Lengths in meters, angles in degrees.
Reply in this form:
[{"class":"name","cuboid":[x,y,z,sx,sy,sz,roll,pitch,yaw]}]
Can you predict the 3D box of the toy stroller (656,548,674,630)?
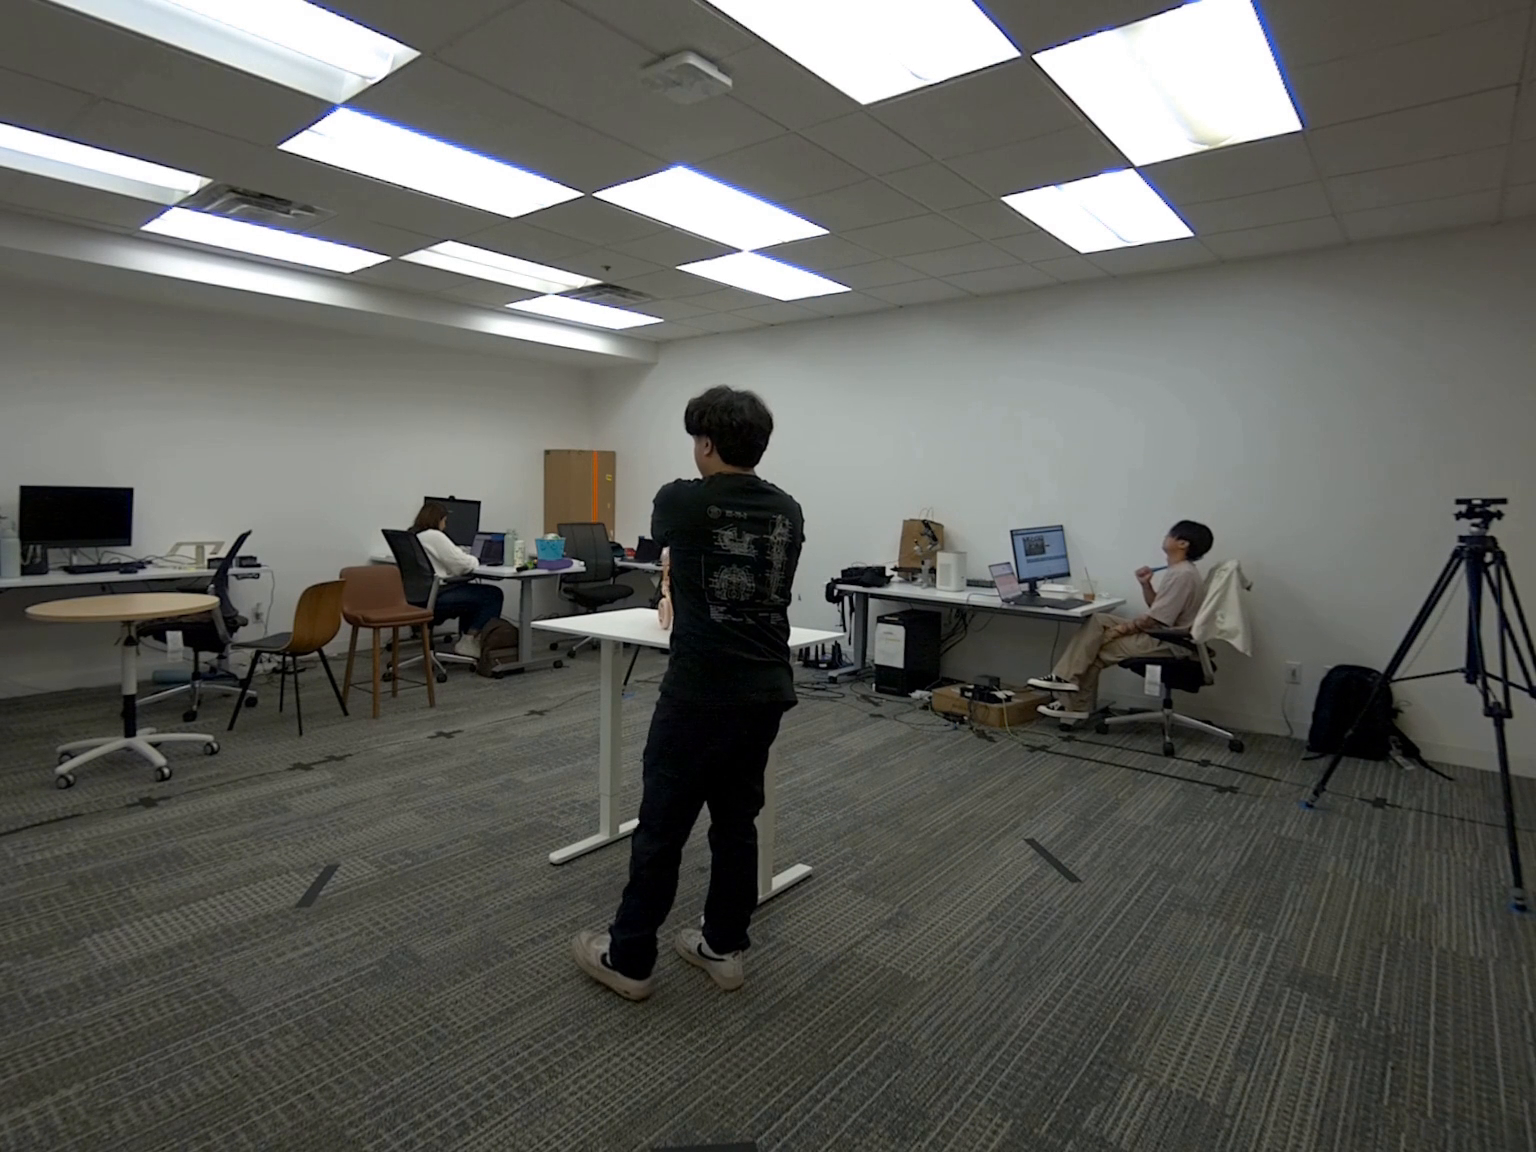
[{"class":"toy stroller","cuboid":[-0.273,-0.041,3.140,0.277,0.527,0.352,2,20,-14]}]
